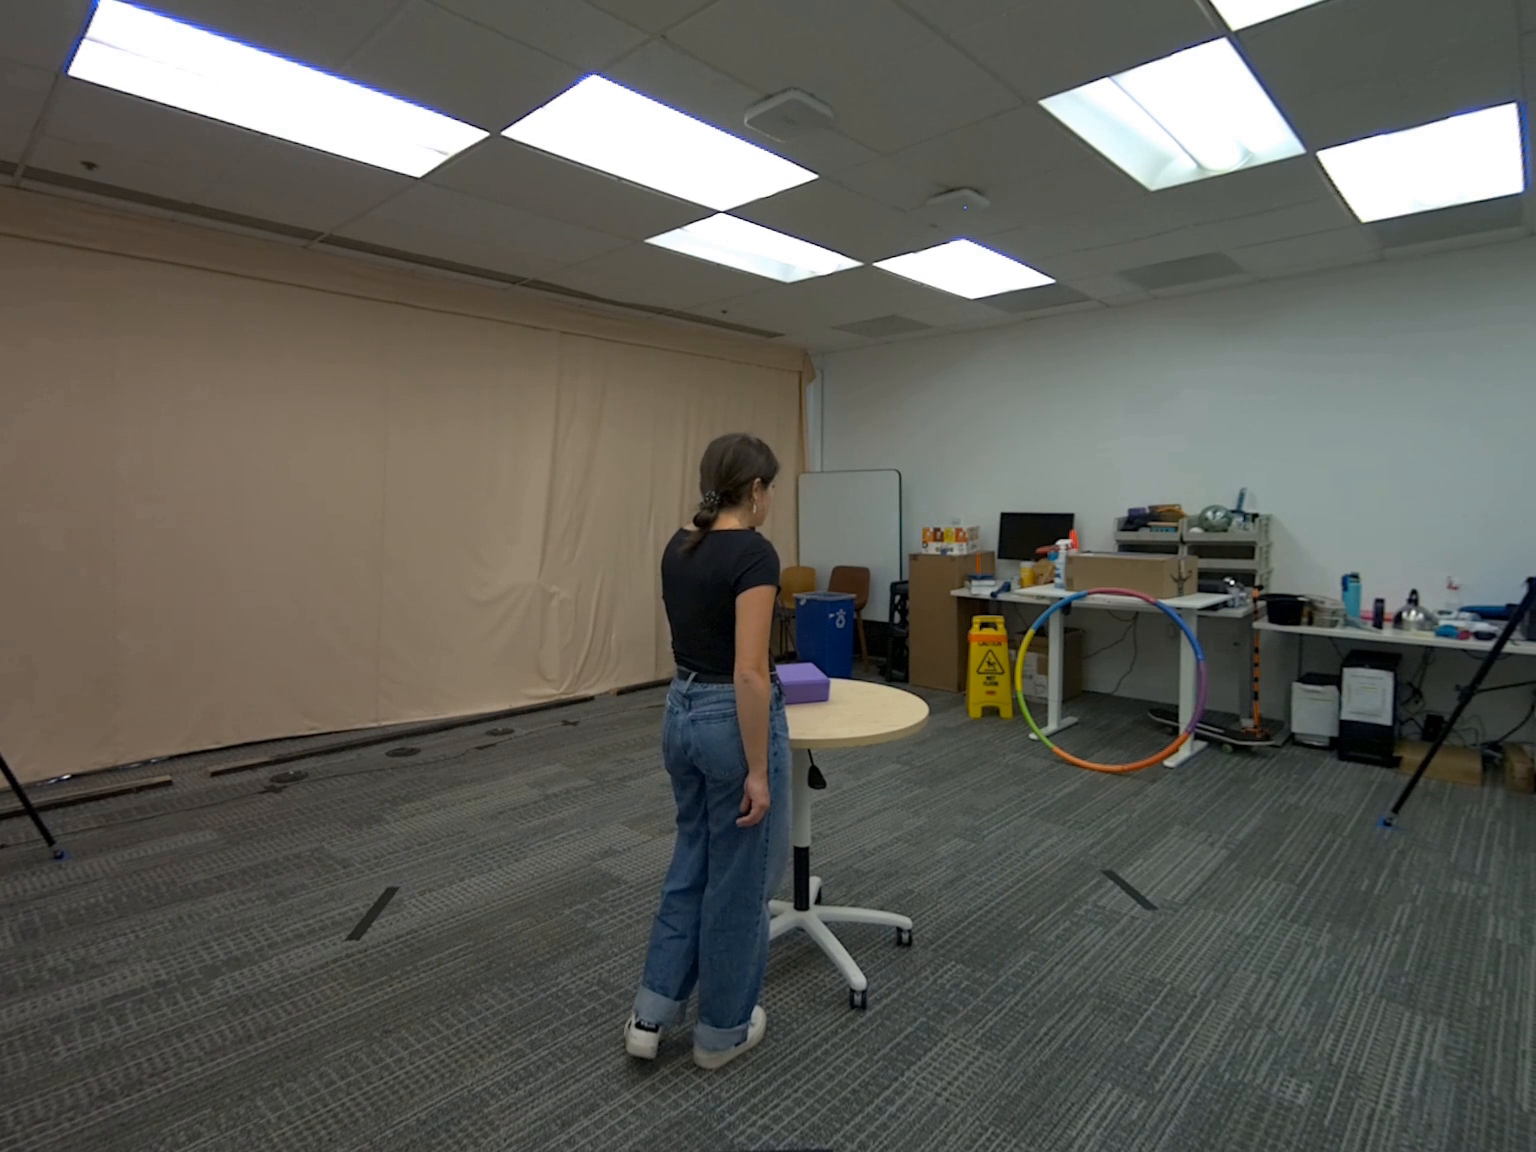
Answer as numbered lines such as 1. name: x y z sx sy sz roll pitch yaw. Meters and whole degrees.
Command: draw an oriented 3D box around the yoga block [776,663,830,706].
1. yoga block: 0.075 0.343 2.626 0.225 0.076 0.152 -3 14 -16
